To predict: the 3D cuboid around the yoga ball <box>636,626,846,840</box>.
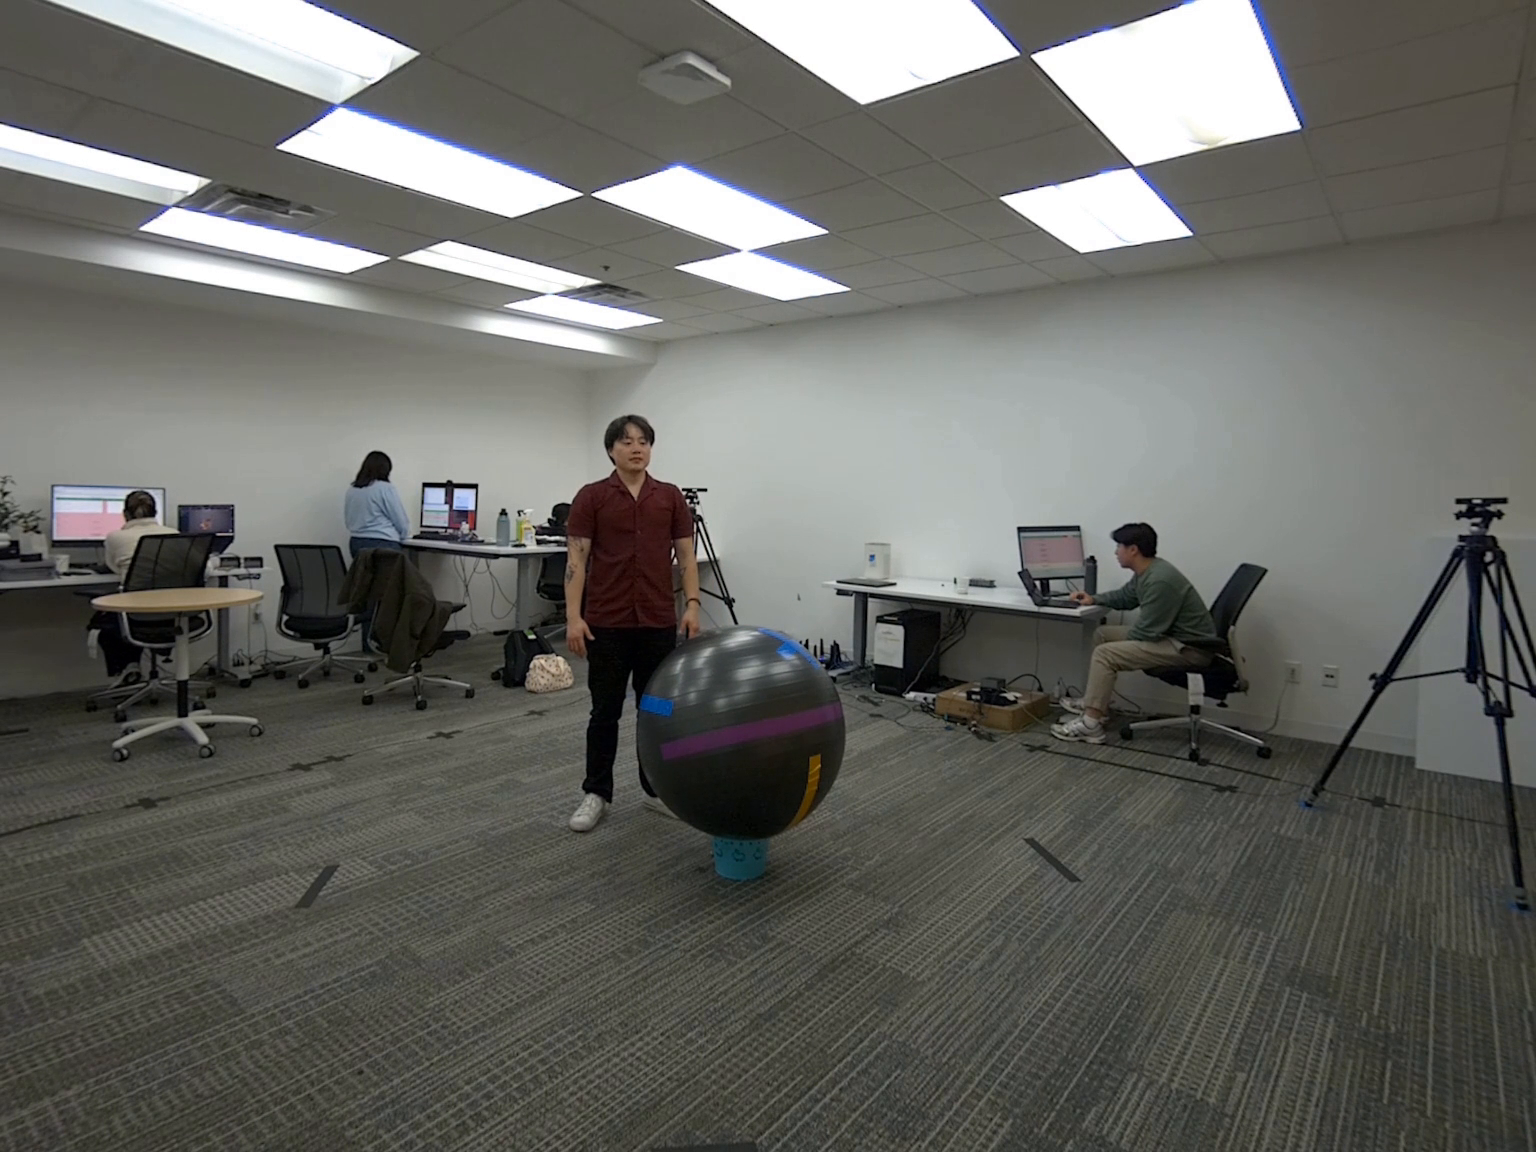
[{"bbox_3d":[-0.116,0.556,3.101,0.757,0.756,0.762,1,4,-2],"label":"yoga ball"}]
